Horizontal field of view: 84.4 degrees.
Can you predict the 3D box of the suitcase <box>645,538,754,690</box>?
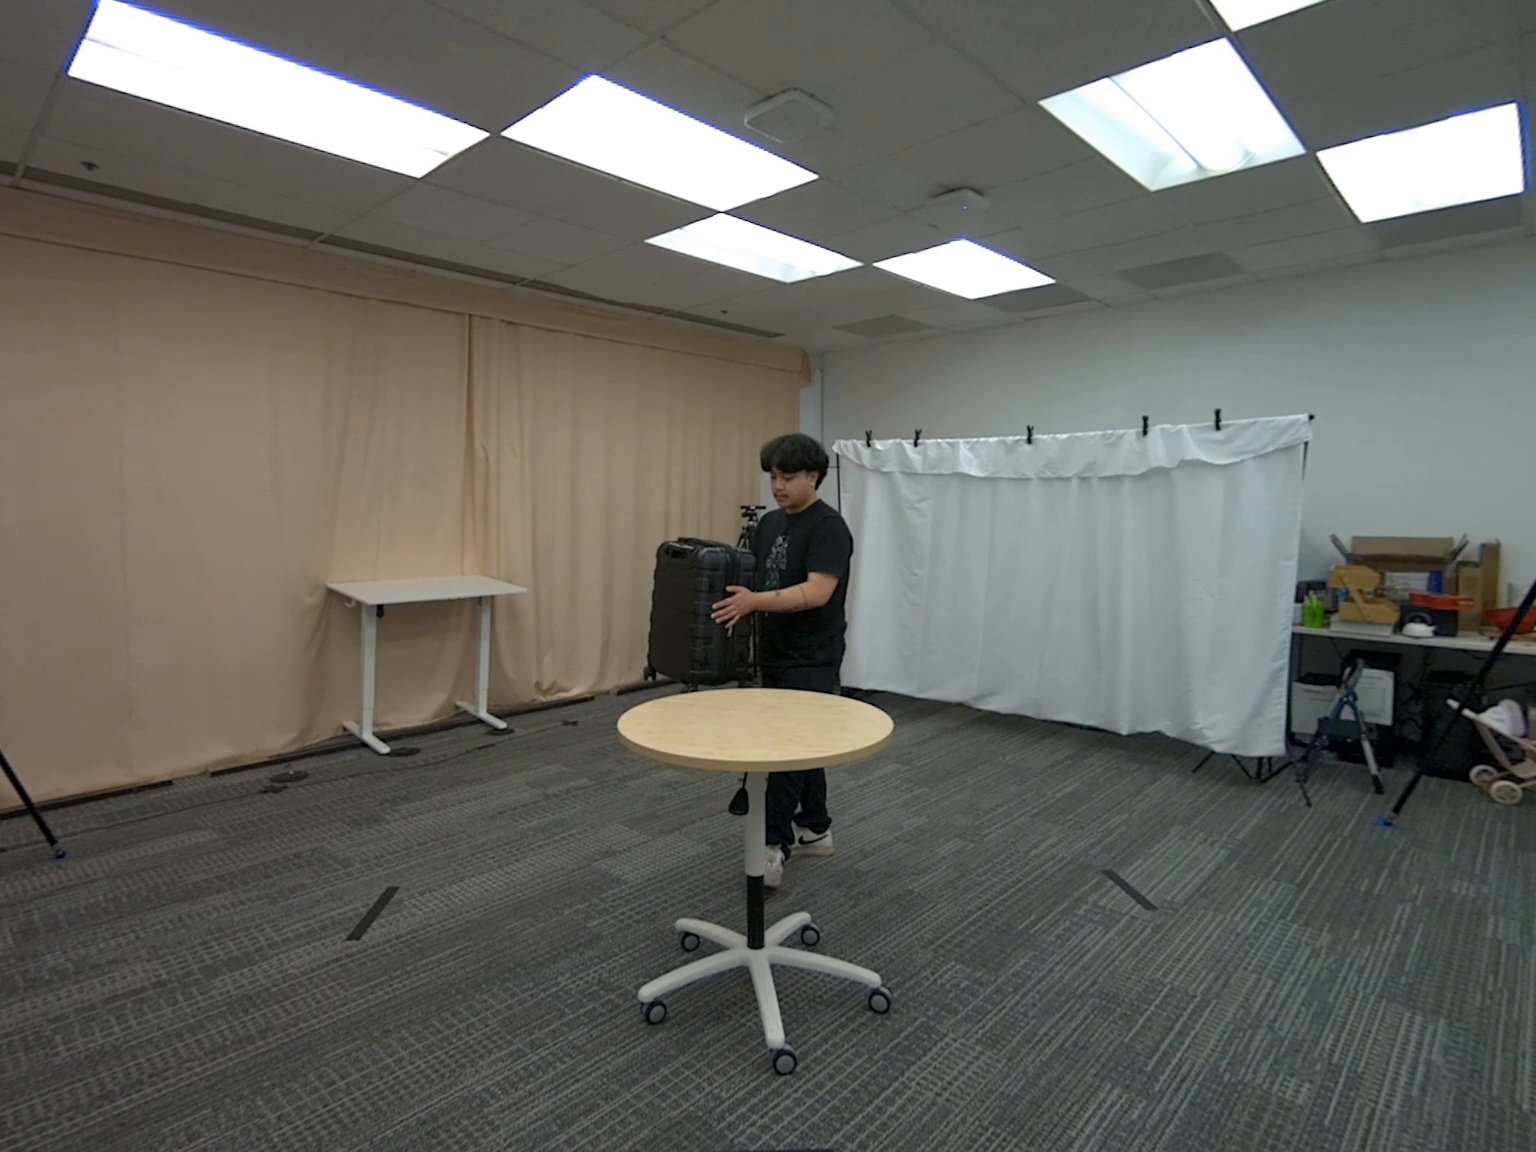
[{"bbox_3d":[-0.245,0.143,3.086,0.240,0.548,0.388,2,5,-38],"label":"suitcase"}]
